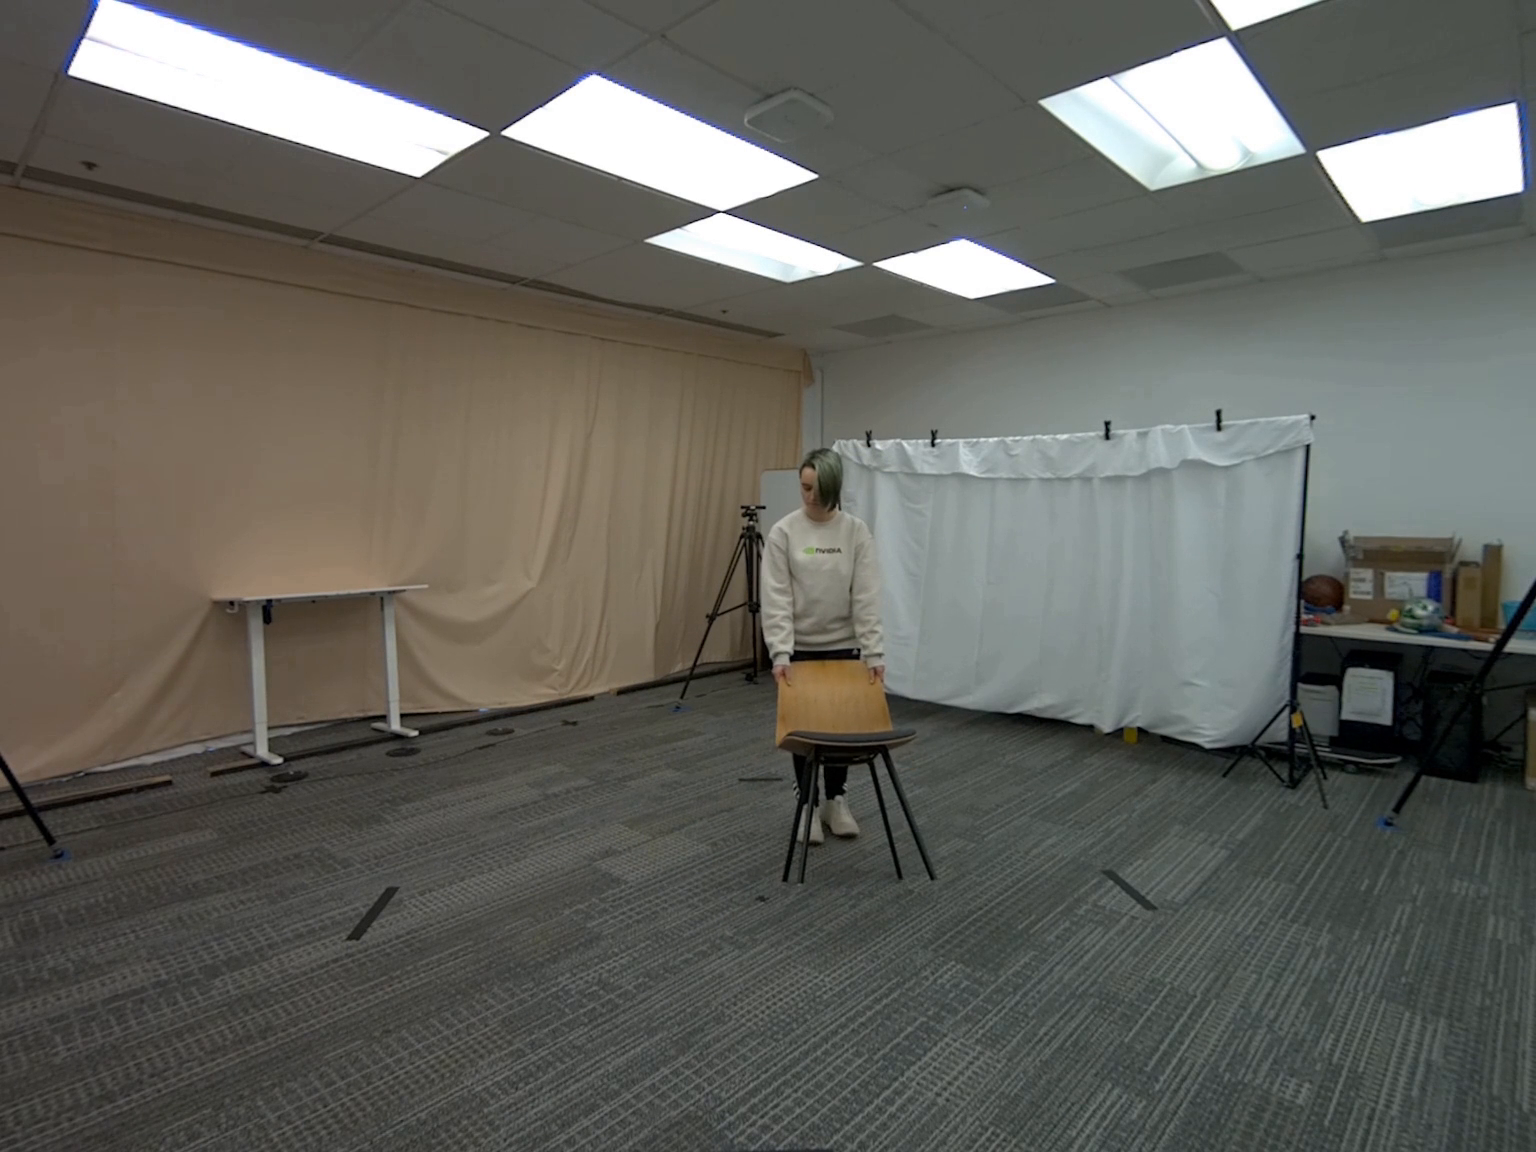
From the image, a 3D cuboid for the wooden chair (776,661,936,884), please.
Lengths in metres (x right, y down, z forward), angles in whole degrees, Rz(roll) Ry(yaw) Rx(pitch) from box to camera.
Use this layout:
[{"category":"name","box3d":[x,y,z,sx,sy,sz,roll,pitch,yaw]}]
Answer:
[{"category":"wooden chair","box3d":[0.280,0.646,3.041,0.476,0.891,0.517,-1,-24,-5]}]
